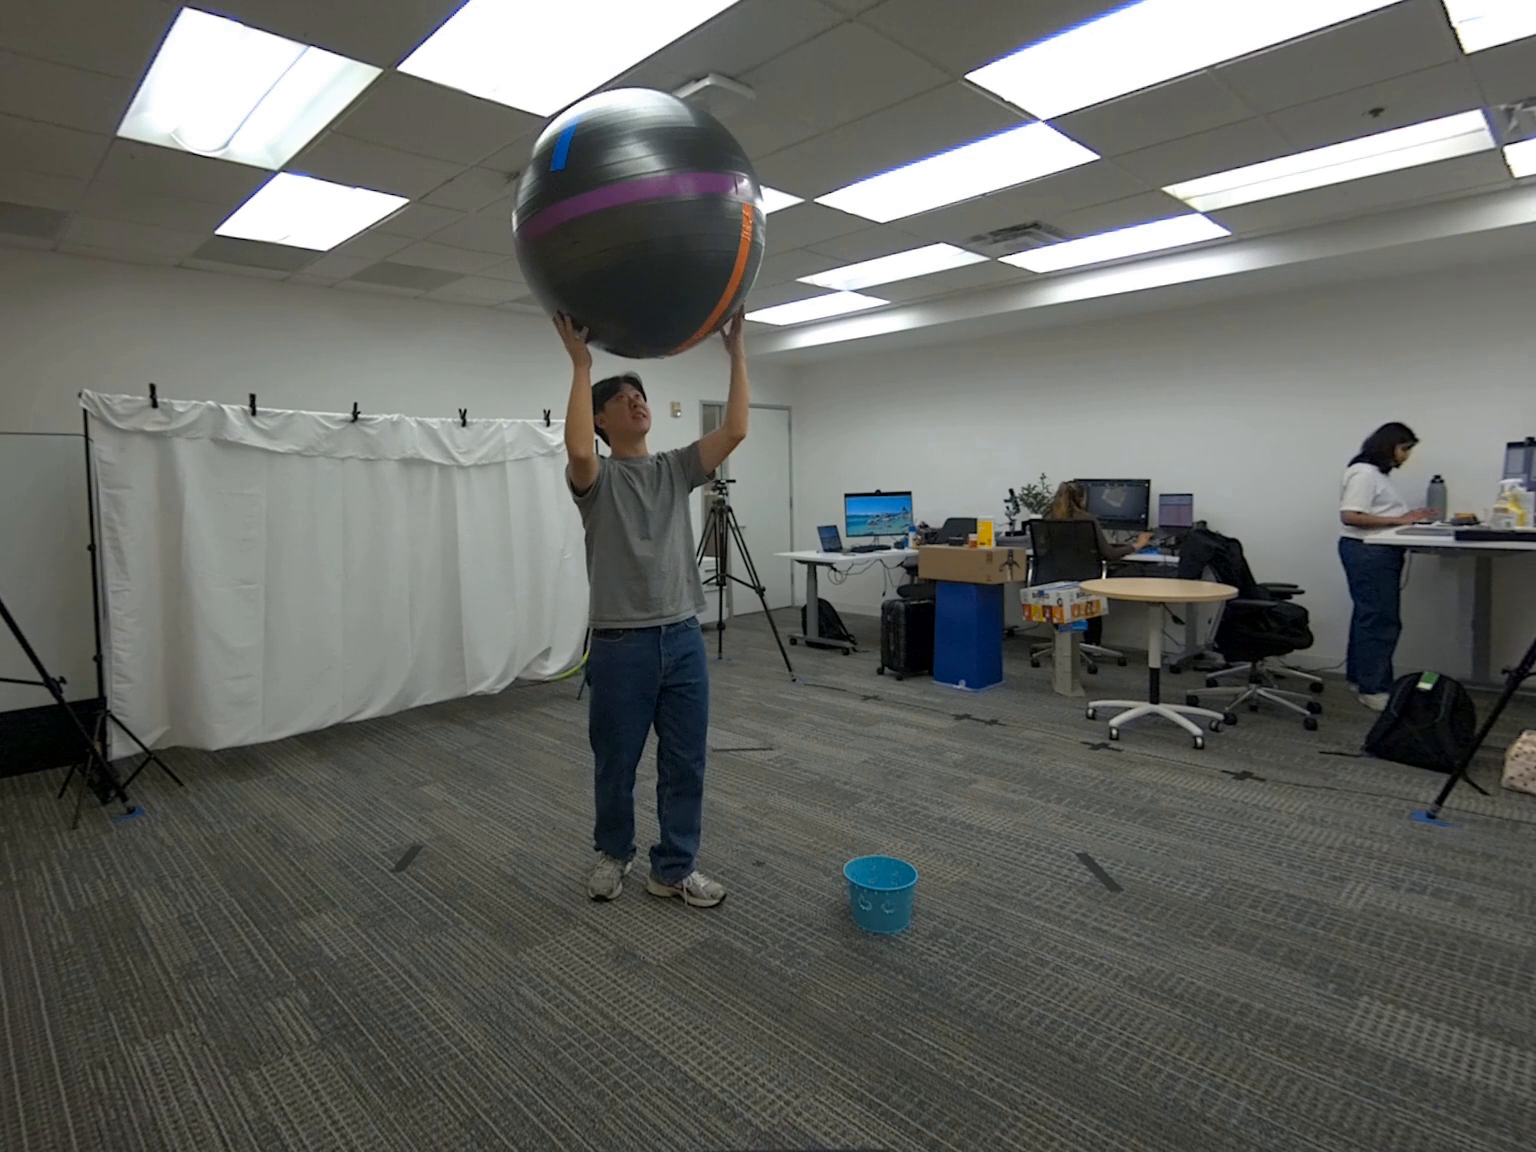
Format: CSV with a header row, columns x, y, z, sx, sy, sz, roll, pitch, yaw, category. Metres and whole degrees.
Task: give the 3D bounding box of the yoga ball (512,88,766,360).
x,y,z,sx,sy,sz,roll,pitch,yaw,category
-0.382,-1.044,2.576,0.757,0.755,0.762,-1,5,-2,yoga ball
